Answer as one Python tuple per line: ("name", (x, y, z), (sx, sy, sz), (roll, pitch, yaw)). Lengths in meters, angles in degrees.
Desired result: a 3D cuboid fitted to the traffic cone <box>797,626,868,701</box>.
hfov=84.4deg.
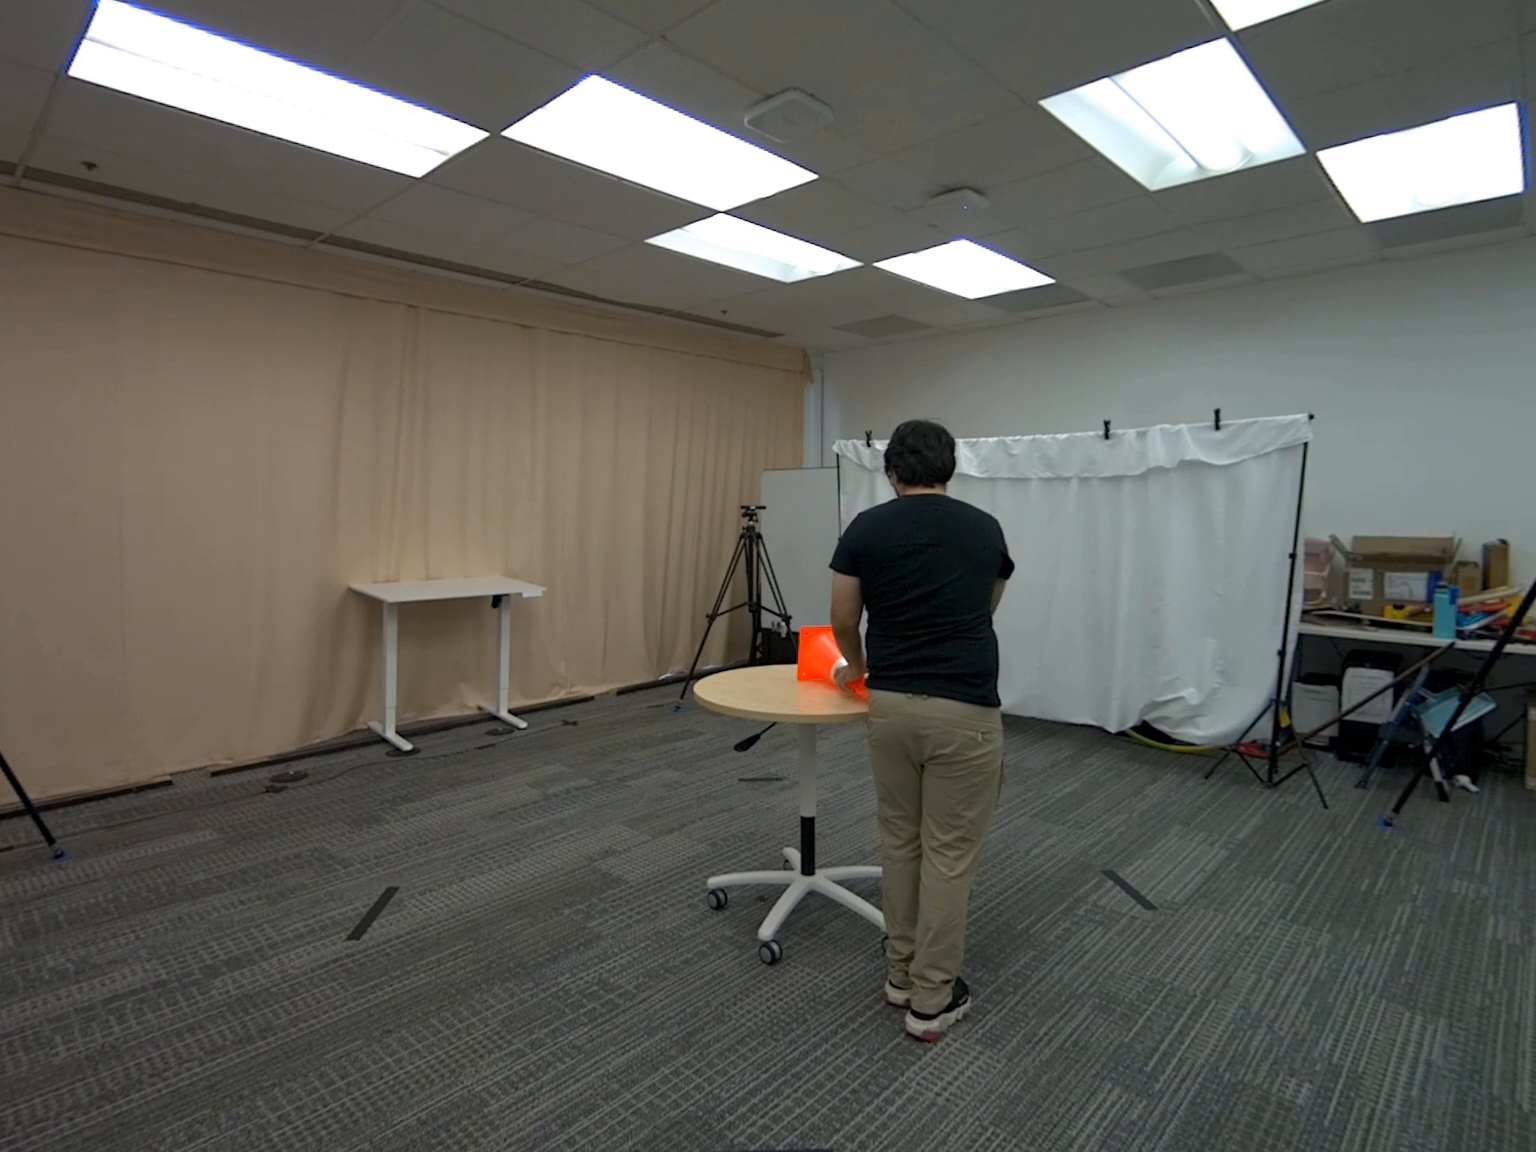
("traffic cone", (0.255, 0.318, 2.740), (0.202, 0.201, 0.393), (-3, 17, -14))
